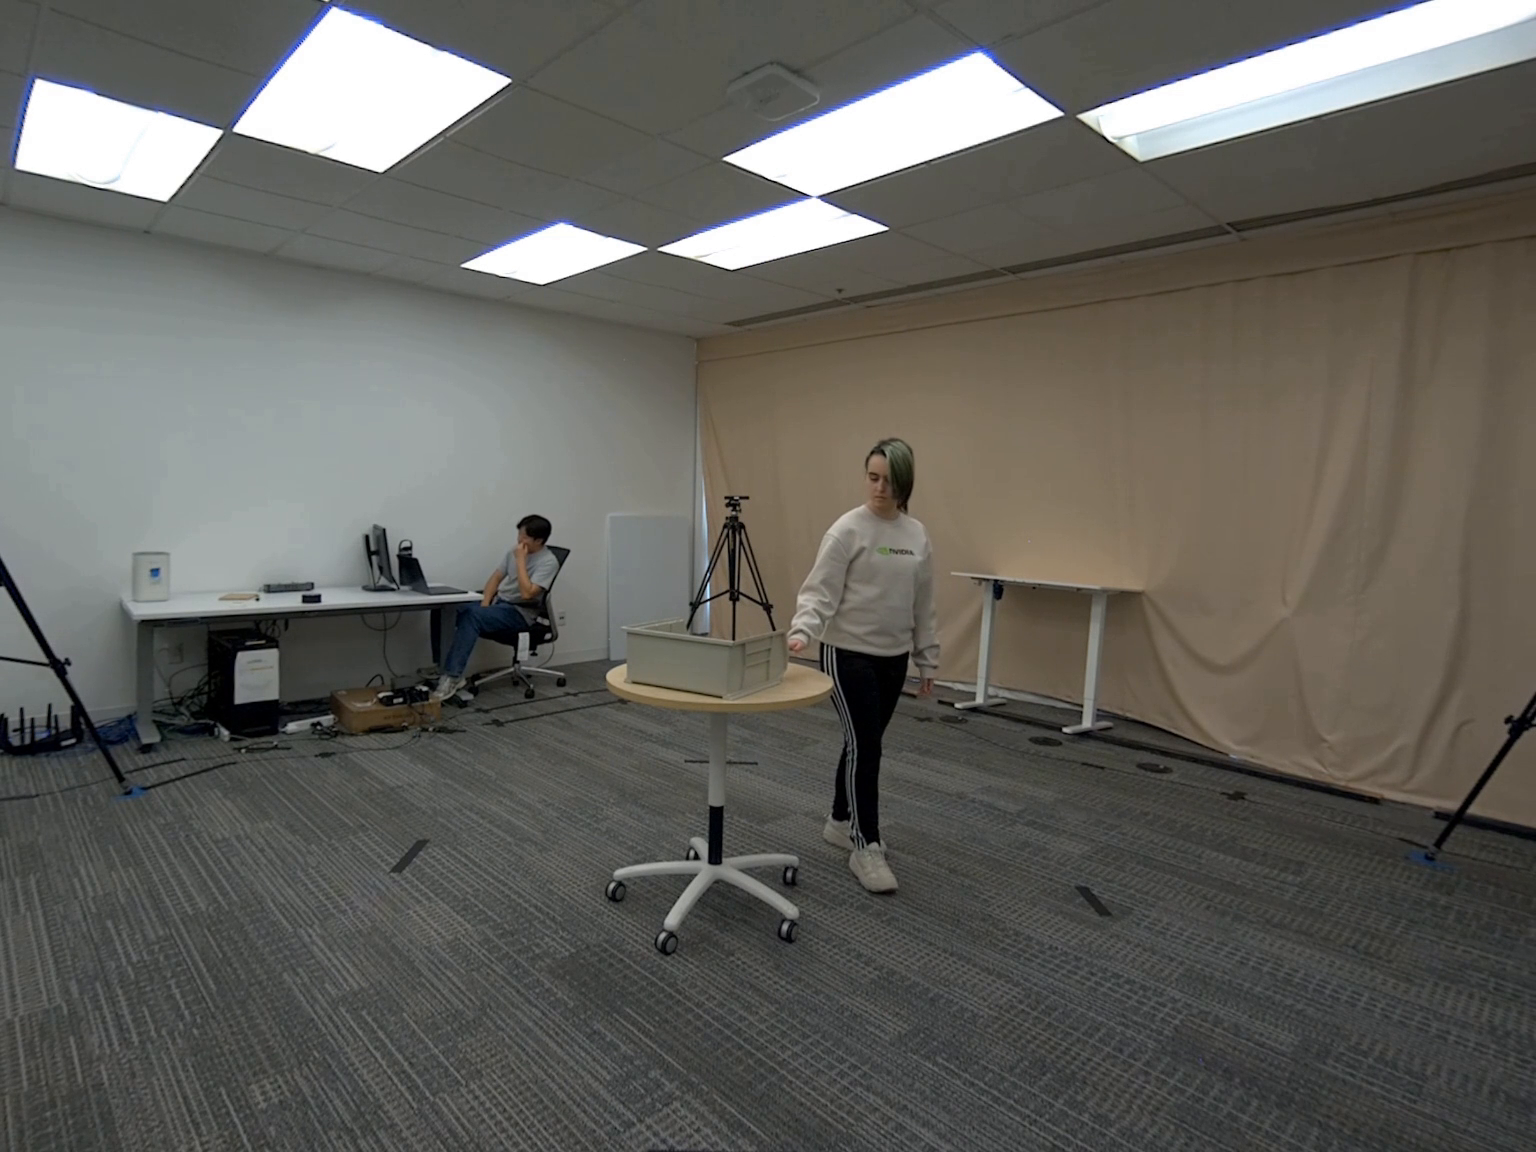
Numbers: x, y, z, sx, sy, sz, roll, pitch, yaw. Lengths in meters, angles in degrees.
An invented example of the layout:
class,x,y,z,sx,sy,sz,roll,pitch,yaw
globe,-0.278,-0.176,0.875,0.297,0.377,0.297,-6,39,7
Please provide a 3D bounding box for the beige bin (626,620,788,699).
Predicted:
class,x,y,z,sx,sy,sz,roll,pitch,yaw
beige bin,-0.205,0.259,2.750,0.431,0.188,0.370,5,7,29
